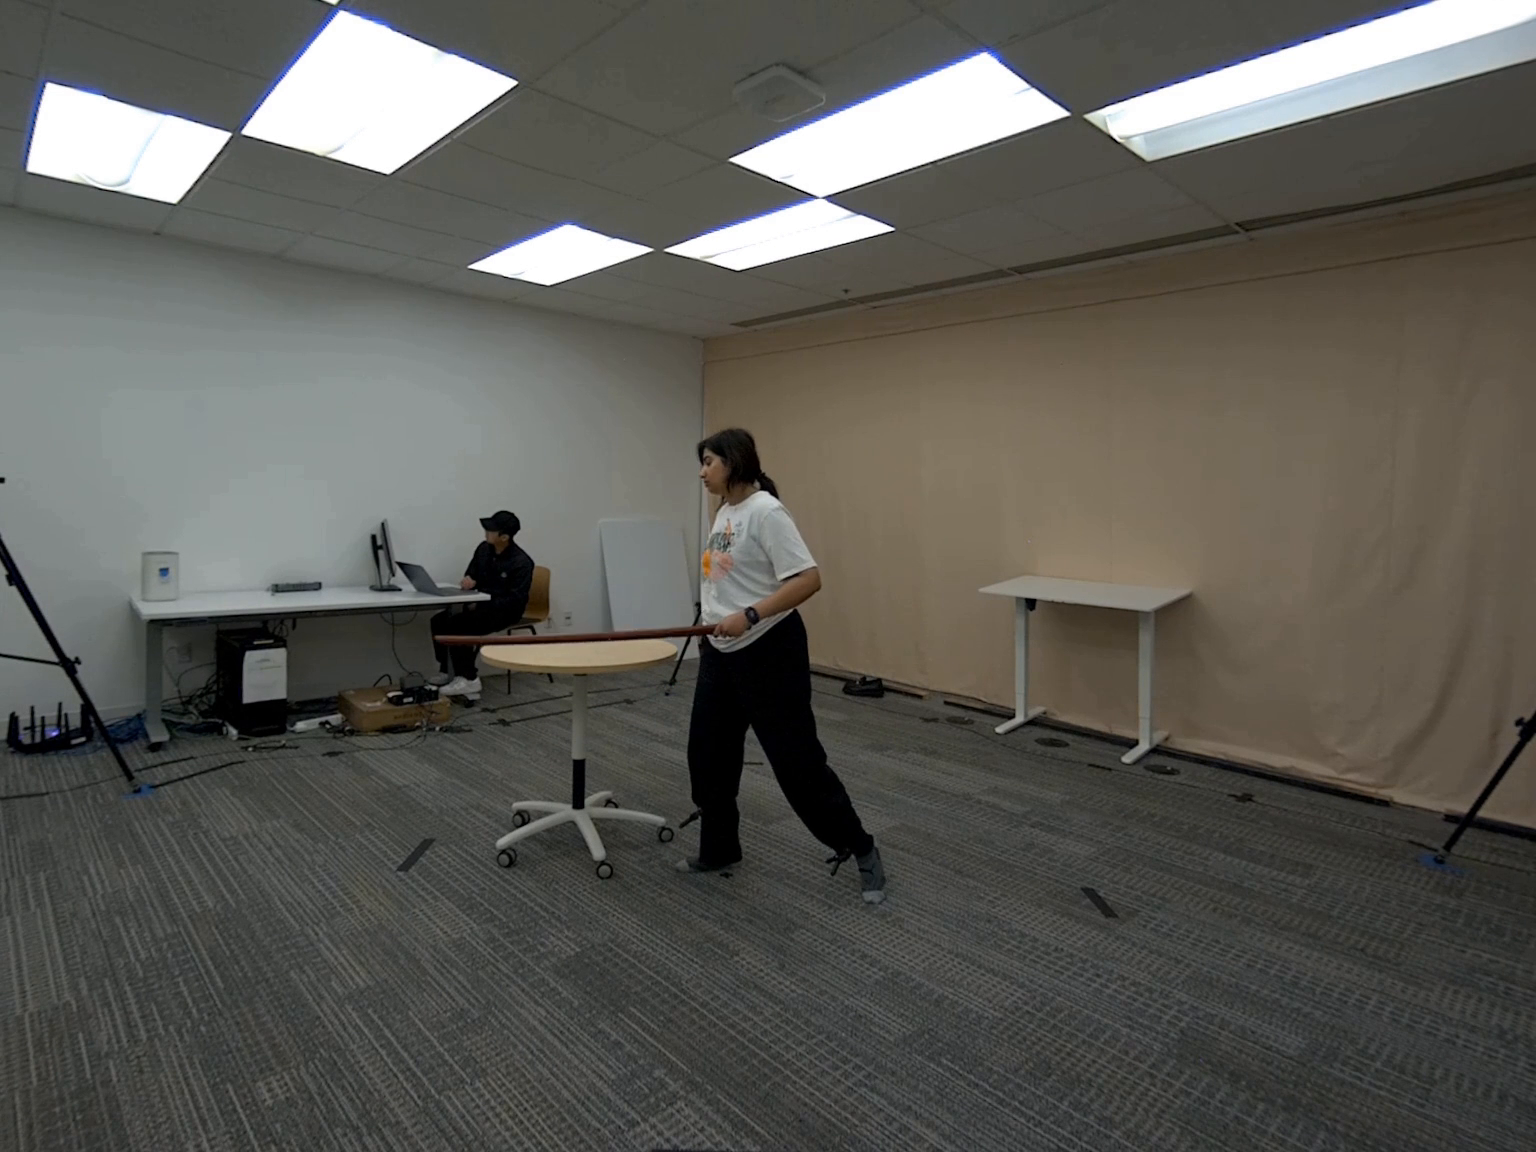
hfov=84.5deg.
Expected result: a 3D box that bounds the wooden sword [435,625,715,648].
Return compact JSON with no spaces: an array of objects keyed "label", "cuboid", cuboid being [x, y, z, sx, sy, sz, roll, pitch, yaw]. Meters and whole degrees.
[{"label":"wooden sword","cuboid":[-0.549,0.207,2.764,1.019,0.024,0.051,-2,-2,-7]}]
